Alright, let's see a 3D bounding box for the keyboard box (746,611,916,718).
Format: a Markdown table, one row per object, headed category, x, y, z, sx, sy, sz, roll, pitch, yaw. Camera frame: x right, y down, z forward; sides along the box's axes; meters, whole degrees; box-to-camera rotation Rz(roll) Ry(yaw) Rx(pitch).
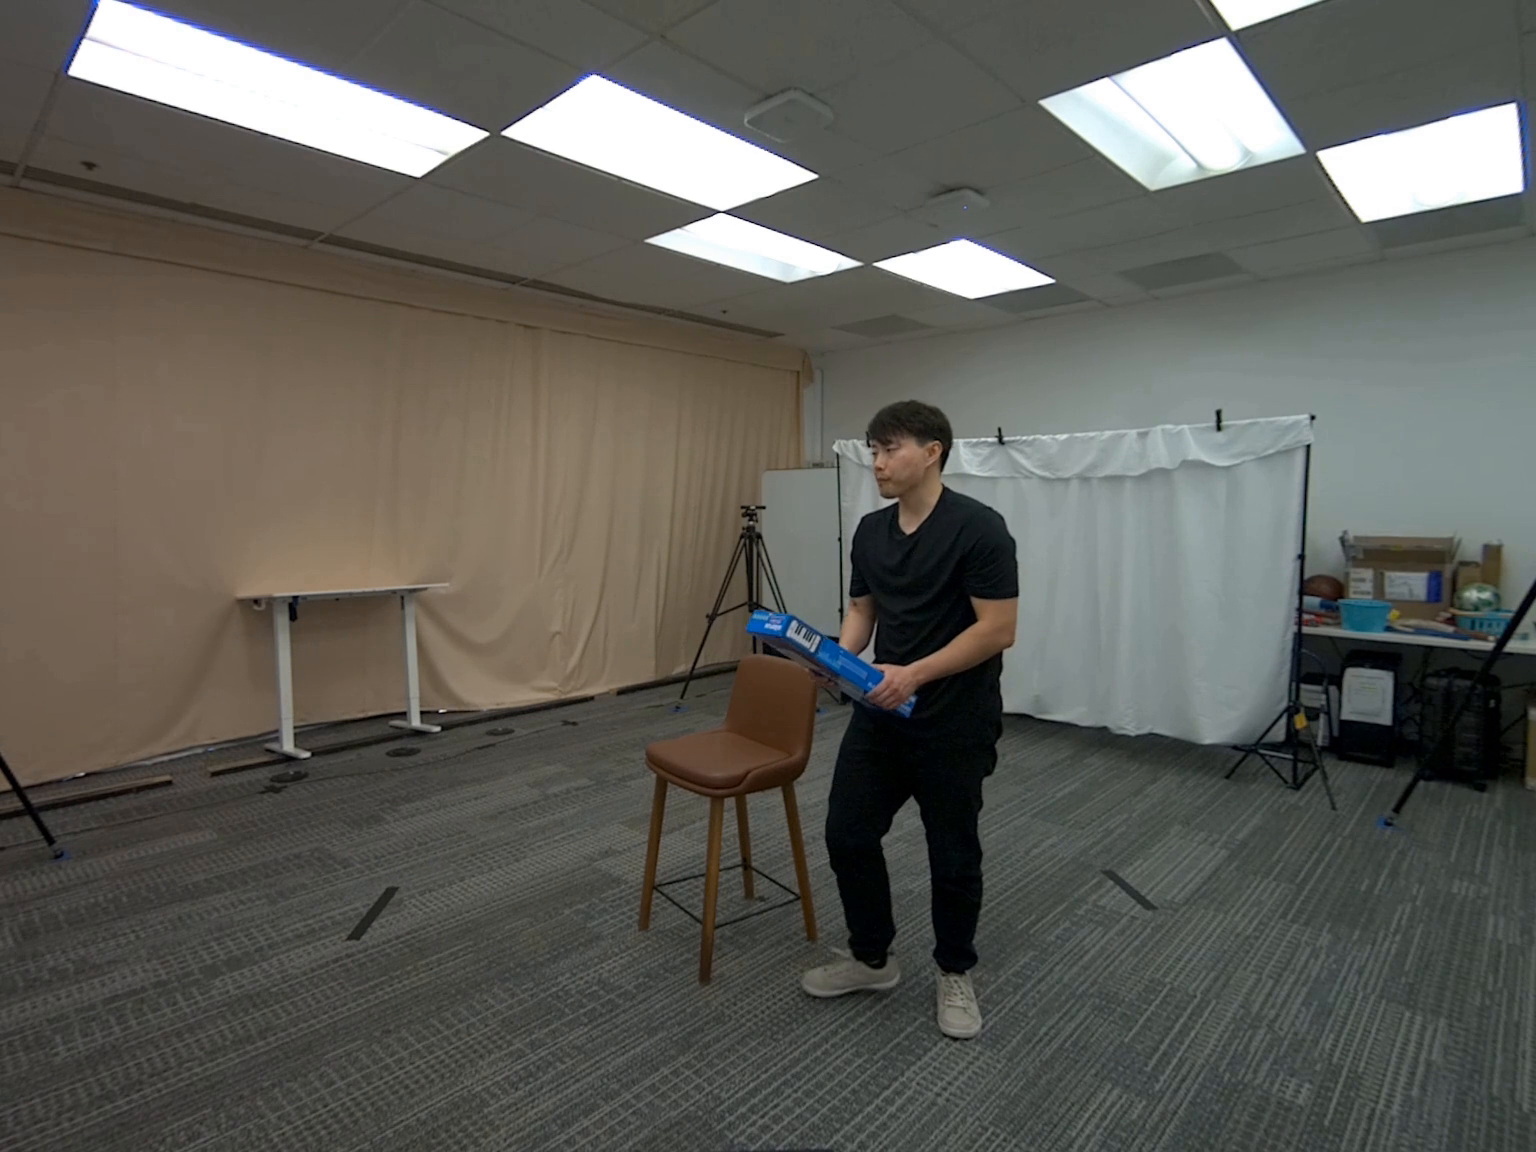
| category | x | y | z | sx | sy | sz | roll | pitch | yaw |
| --- | --- | --- | --- | --- | --- | --- | --- | --- | --- |
| keyboard box | 0.163 | 0.217 | 2.092 | 0.425 | 0.059 | 0.180 | 34 | -15 | -23 |
